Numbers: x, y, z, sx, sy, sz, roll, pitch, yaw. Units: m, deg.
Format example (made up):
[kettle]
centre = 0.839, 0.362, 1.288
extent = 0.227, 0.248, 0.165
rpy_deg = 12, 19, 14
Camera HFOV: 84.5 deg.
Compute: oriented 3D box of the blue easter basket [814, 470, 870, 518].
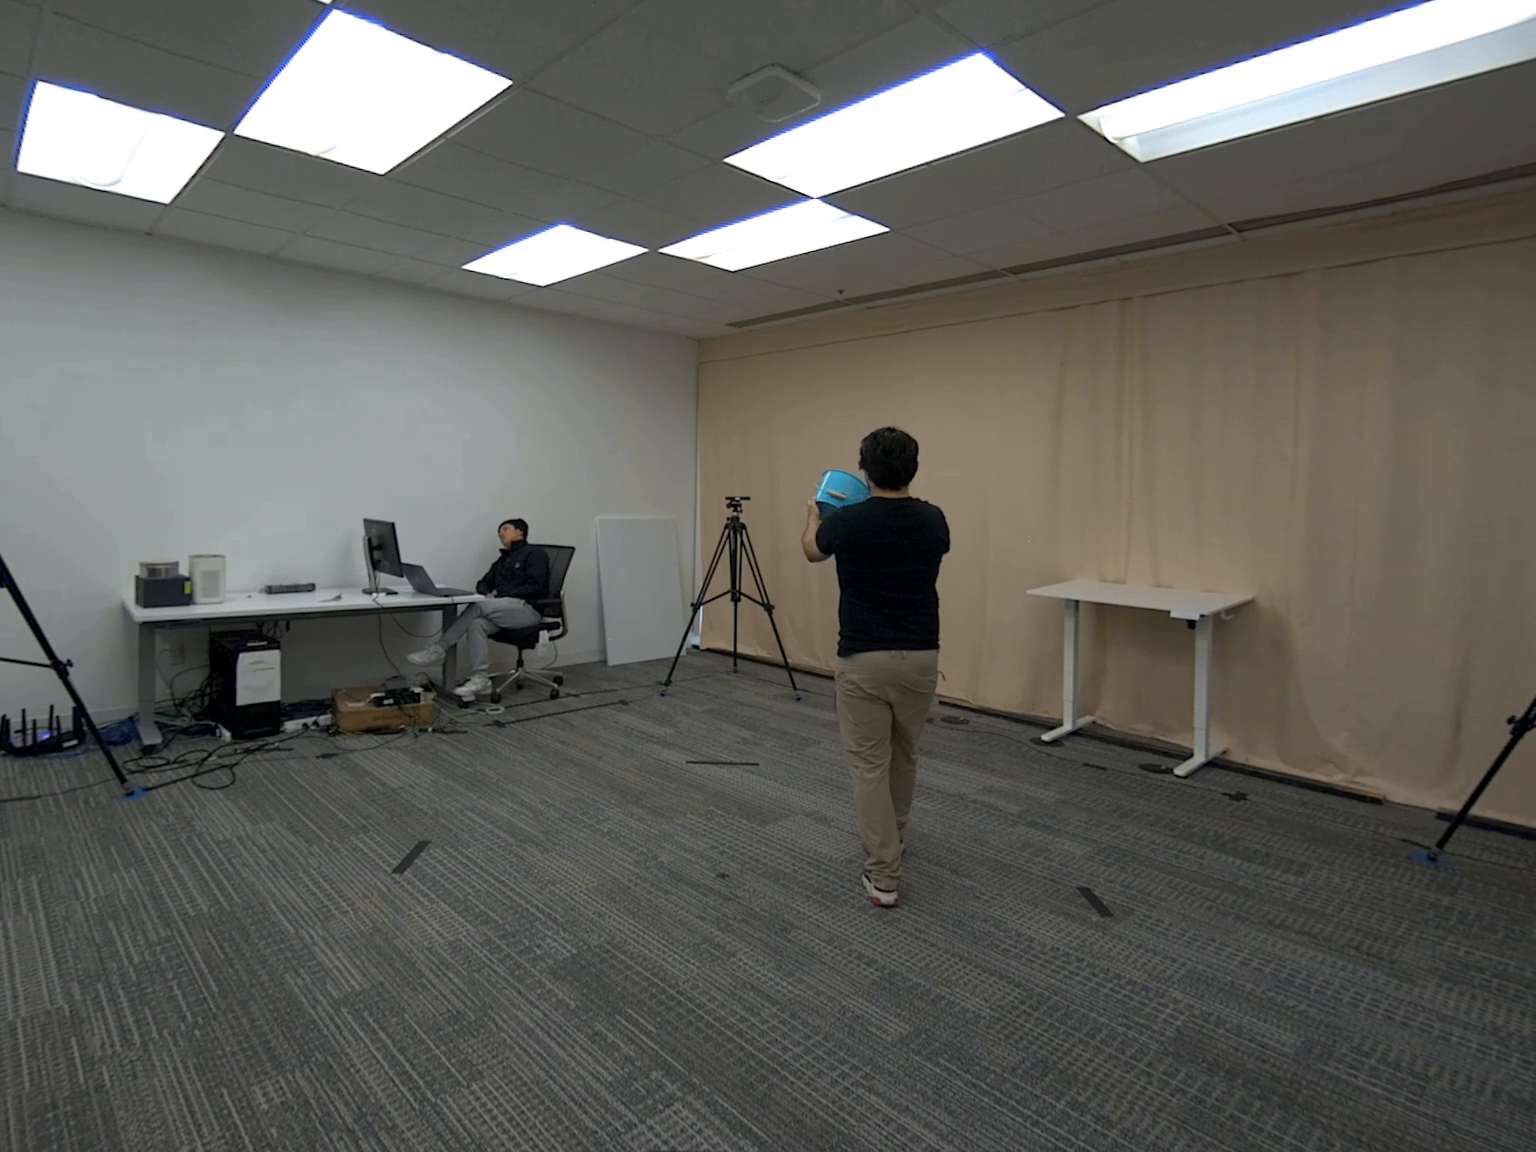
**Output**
[blue easter basket]
centre = 0.299, -0.307, 3.501
extent = 0.247, 0.156, 0.239
rpy_deg = 28, -23, 11
